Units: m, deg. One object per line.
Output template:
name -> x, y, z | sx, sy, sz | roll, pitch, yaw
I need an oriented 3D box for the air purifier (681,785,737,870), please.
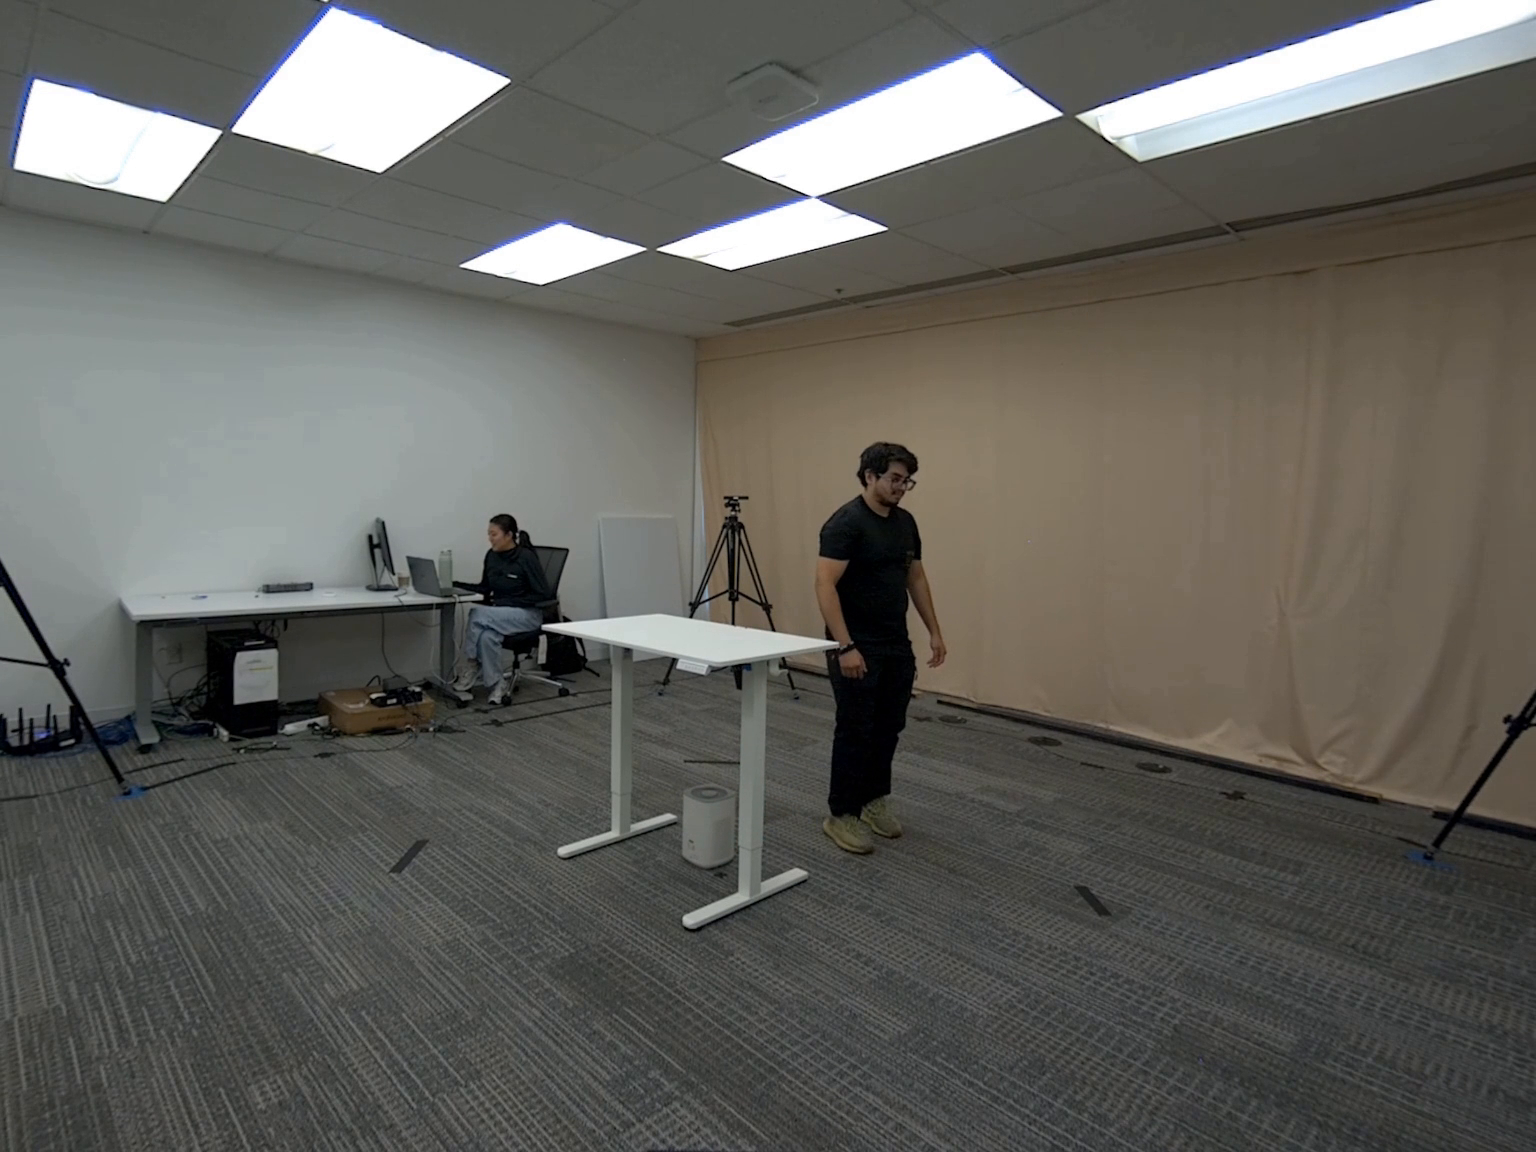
air purifier -> -0.230, 0.955, 3.214 | 0.168, 0.265, 0.175 | -2, 5, -45
